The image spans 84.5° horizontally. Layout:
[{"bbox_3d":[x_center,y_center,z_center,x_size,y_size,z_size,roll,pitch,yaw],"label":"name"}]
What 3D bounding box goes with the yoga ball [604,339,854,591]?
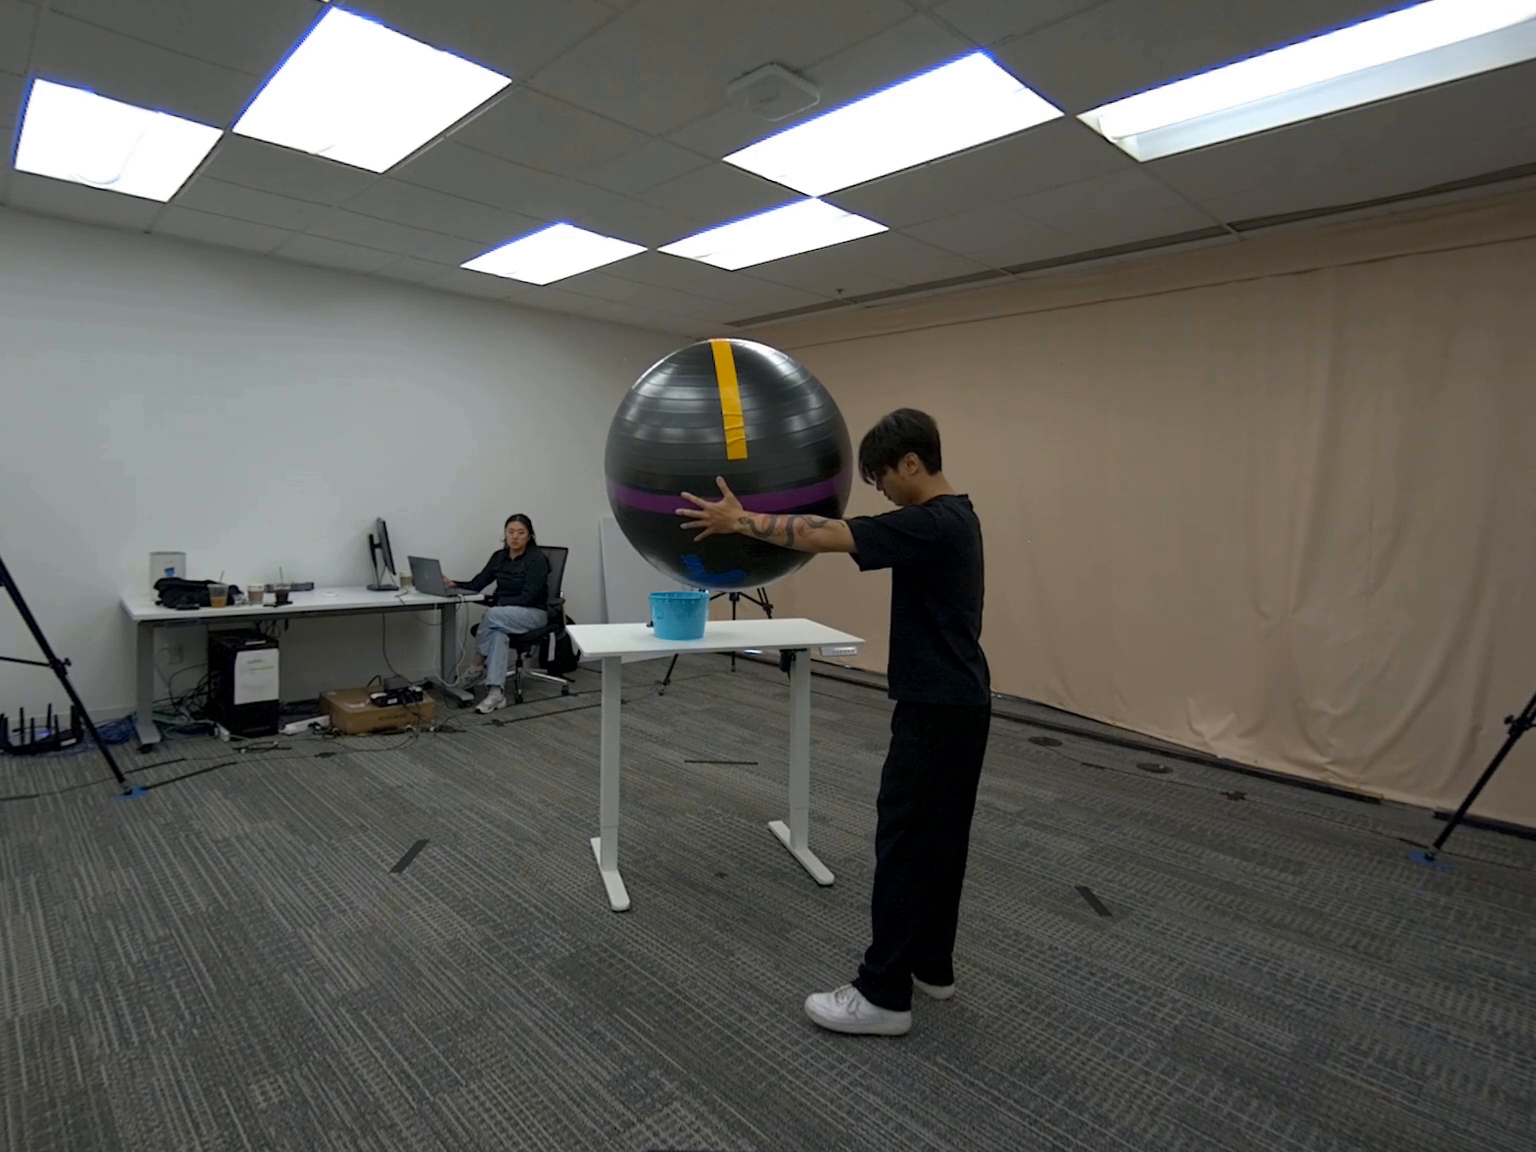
[{"bbox_3d":[-0.128,-0.326,2.578,0.757,0.756,0.761,1,4,-1],"label":"yoga ball"}]
